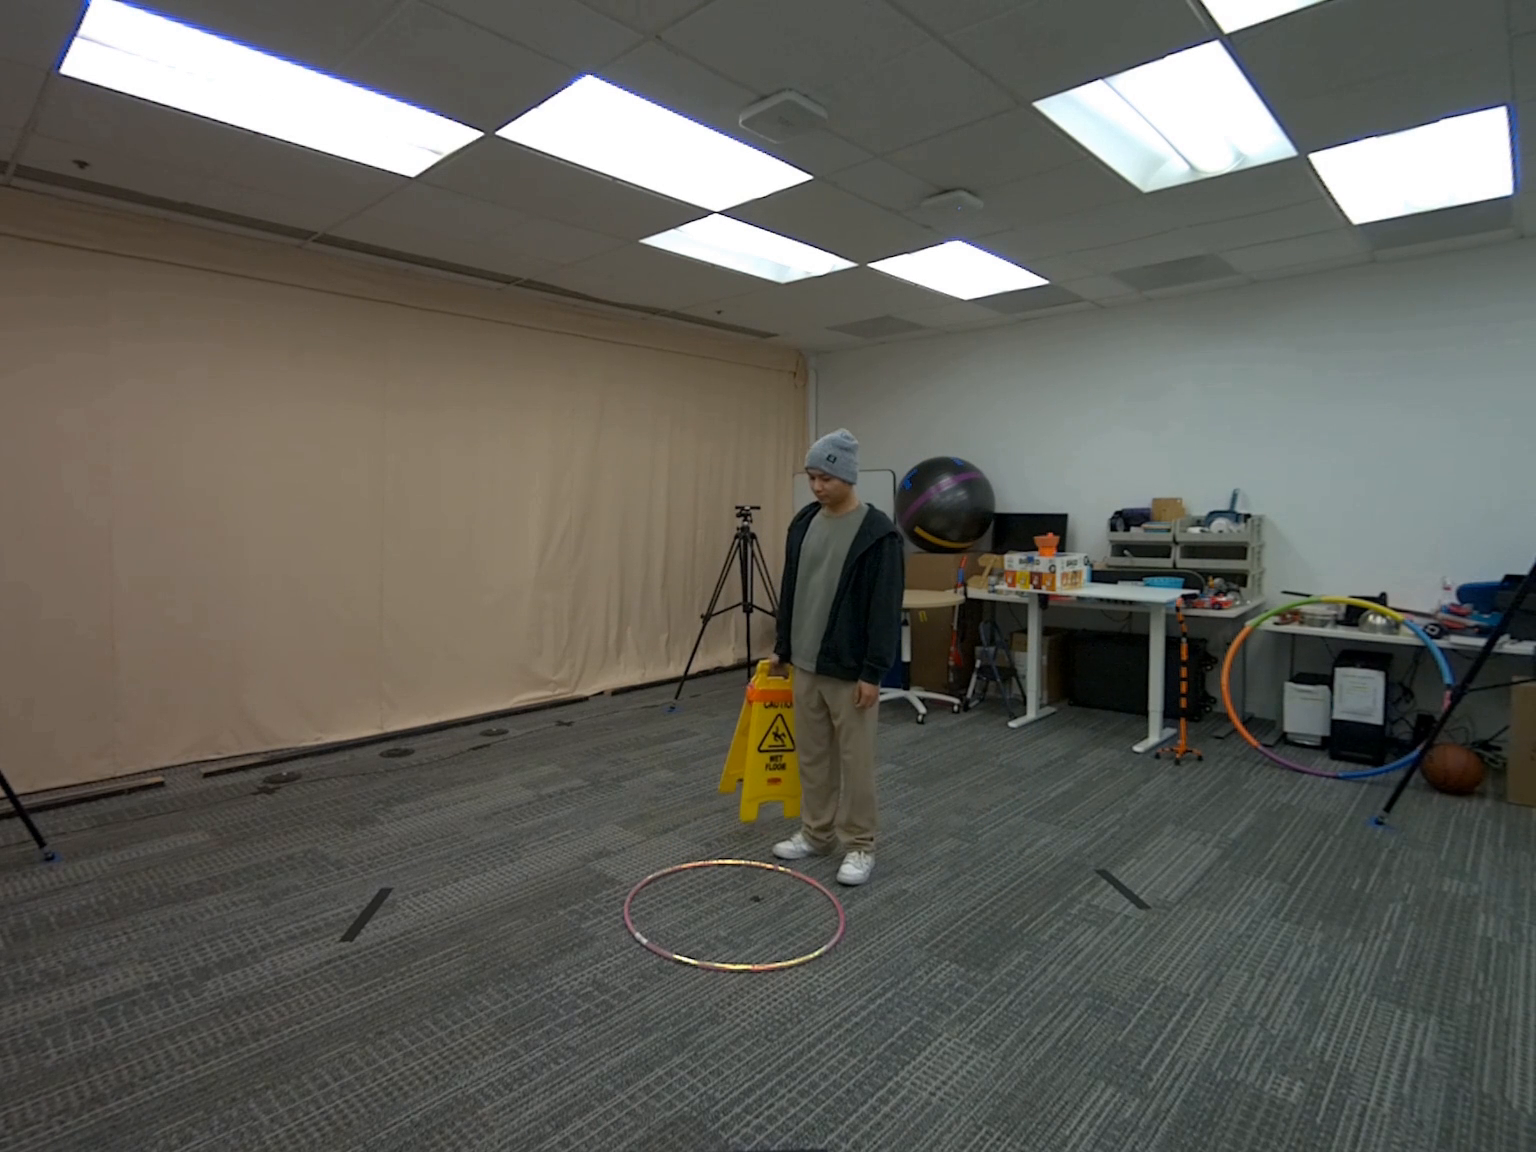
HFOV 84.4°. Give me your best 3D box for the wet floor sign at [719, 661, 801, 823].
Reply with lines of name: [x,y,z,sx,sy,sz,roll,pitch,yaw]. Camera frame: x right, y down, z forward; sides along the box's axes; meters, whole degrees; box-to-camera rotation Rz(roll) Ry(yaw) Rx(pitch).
wet floor sign: [0.003,0.665,3.535,0.275,0.642,0.298,3,12,-25]
